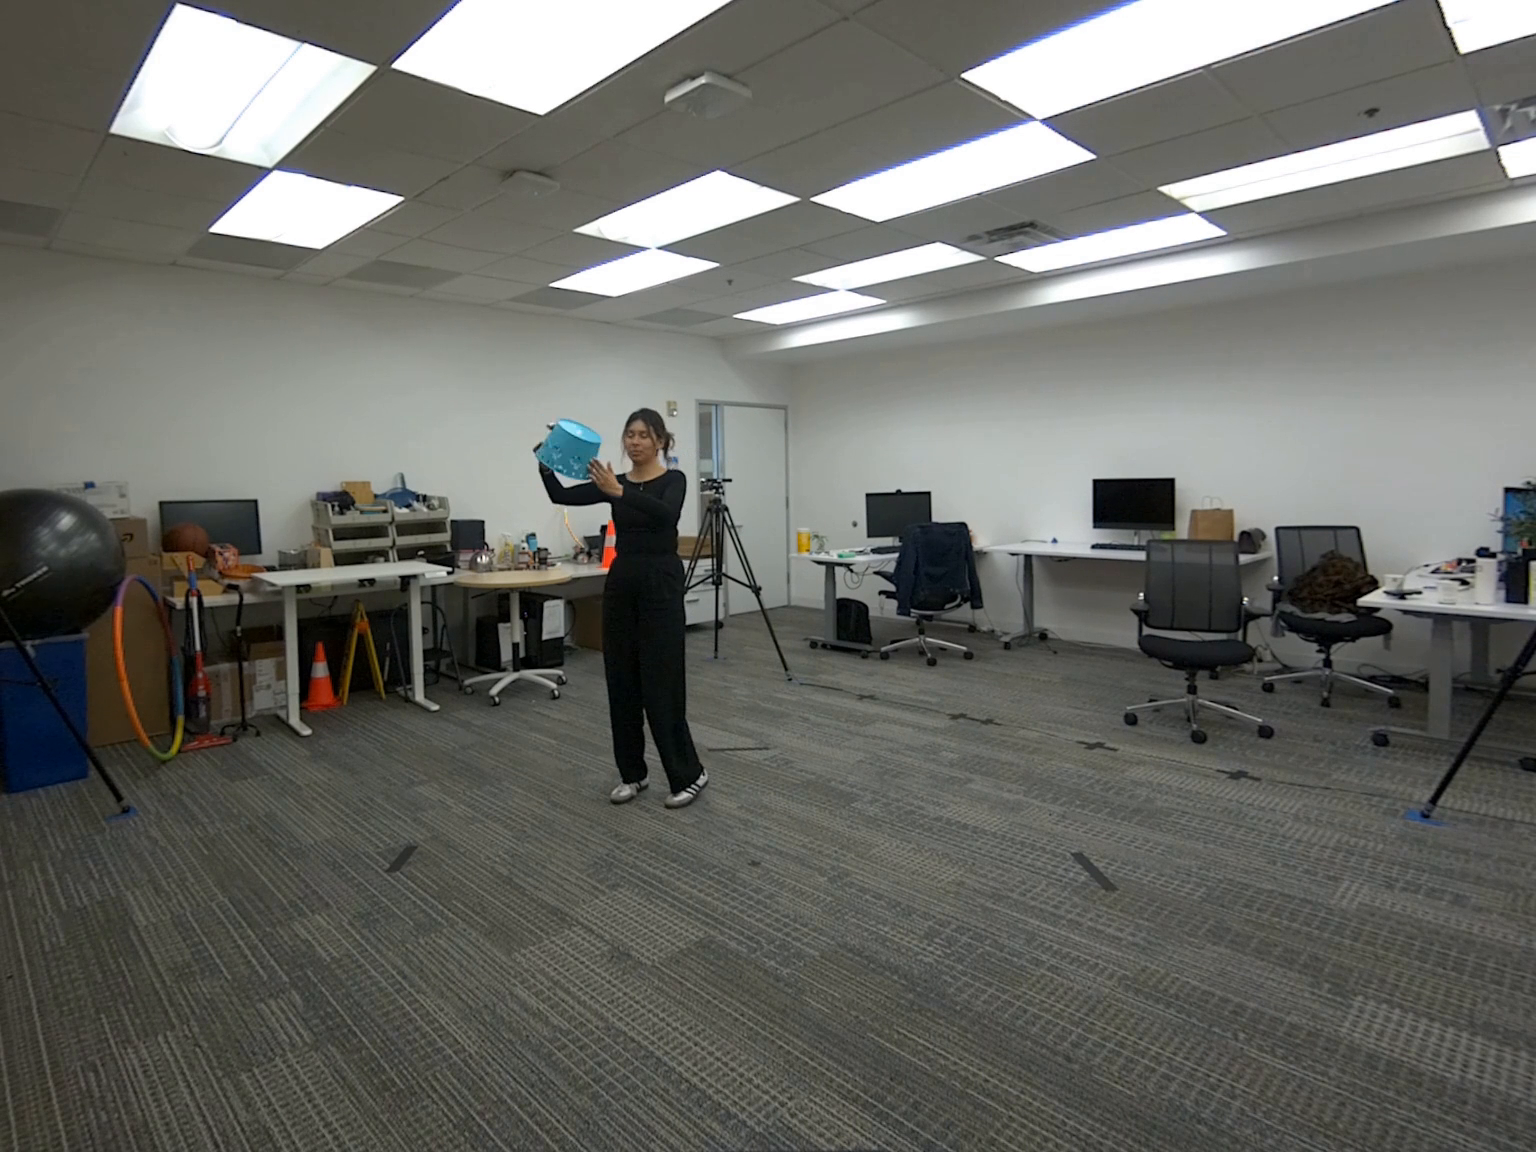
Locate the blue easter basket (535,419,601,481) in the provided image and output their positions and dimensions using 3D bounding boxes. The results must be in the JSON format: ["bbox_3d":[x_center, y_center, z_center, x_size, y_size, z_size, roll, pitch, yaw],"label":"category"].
[{"bbox_3d":[-0.753,-0.487,3.268,0.240,0.155,0.248,26,19,-12],"label":"blue easter basket"}]
